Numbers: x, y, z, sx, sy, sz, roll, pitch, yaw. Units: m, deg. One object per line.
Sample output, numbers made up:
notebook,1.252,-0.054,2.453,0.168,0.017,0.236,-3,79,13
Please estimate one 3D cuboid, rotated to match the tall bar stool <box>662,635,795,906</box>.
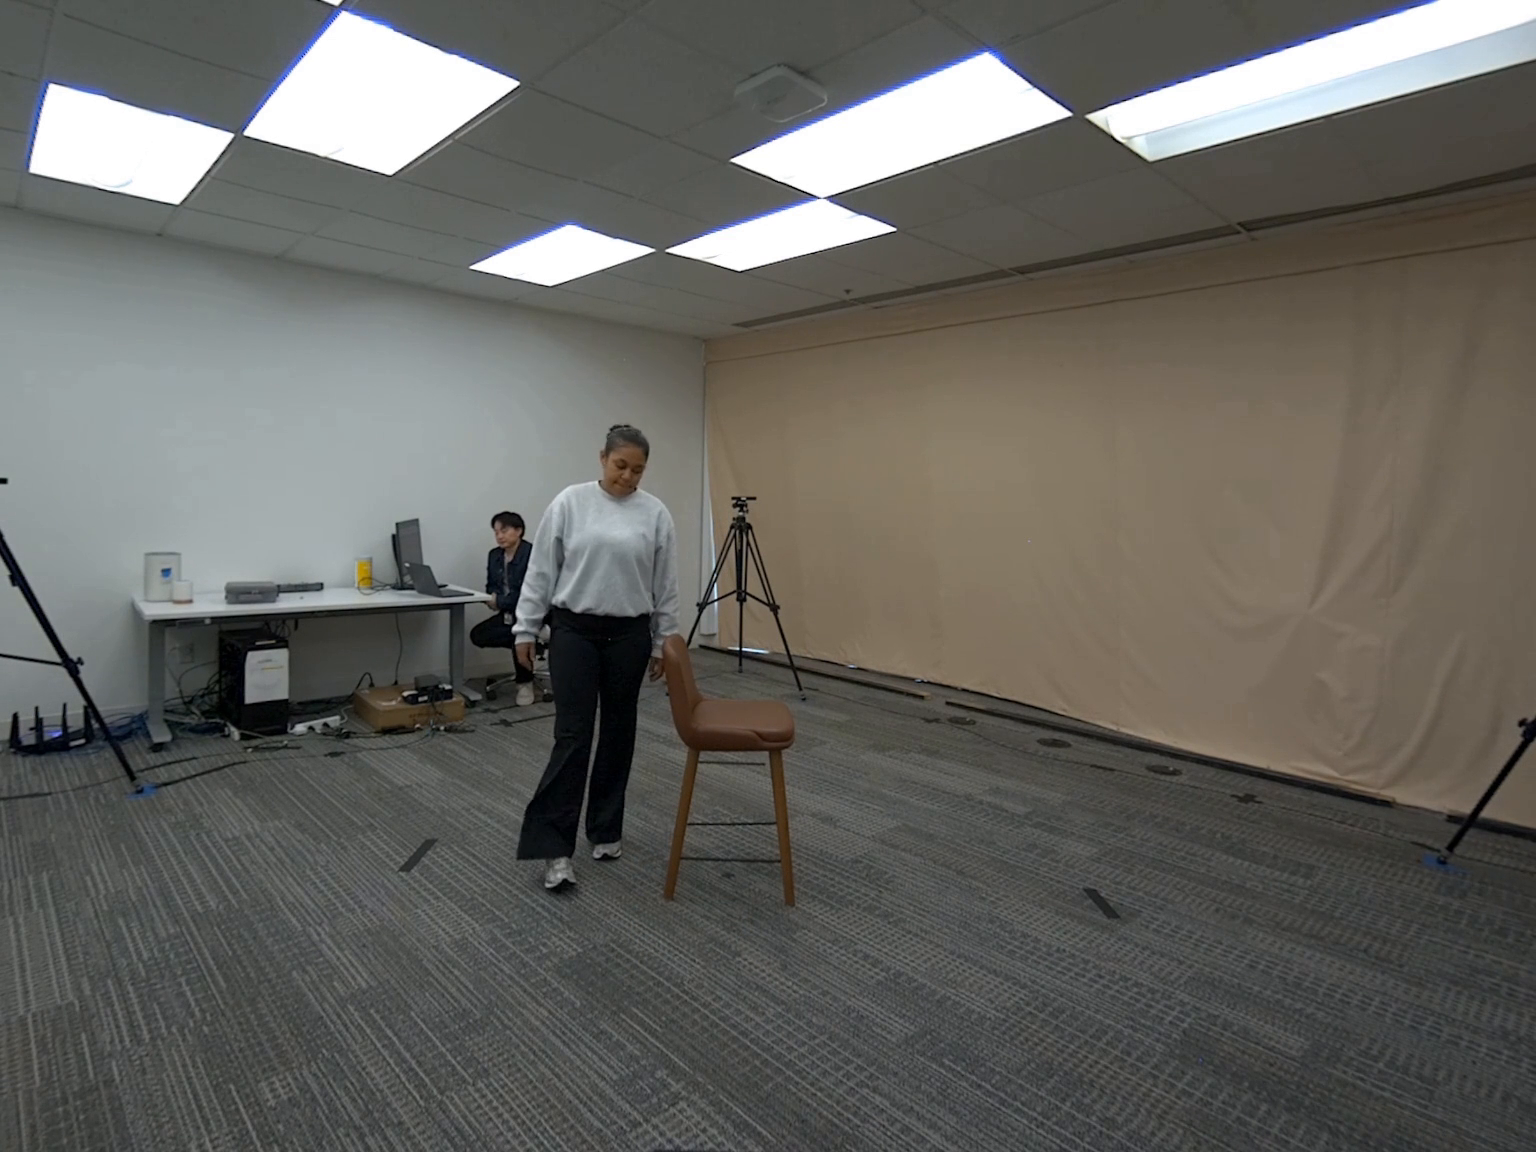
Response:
tall bar stool,-0.153,0.675,3.067,0.467,0.887,0.458,-1,3,-2
